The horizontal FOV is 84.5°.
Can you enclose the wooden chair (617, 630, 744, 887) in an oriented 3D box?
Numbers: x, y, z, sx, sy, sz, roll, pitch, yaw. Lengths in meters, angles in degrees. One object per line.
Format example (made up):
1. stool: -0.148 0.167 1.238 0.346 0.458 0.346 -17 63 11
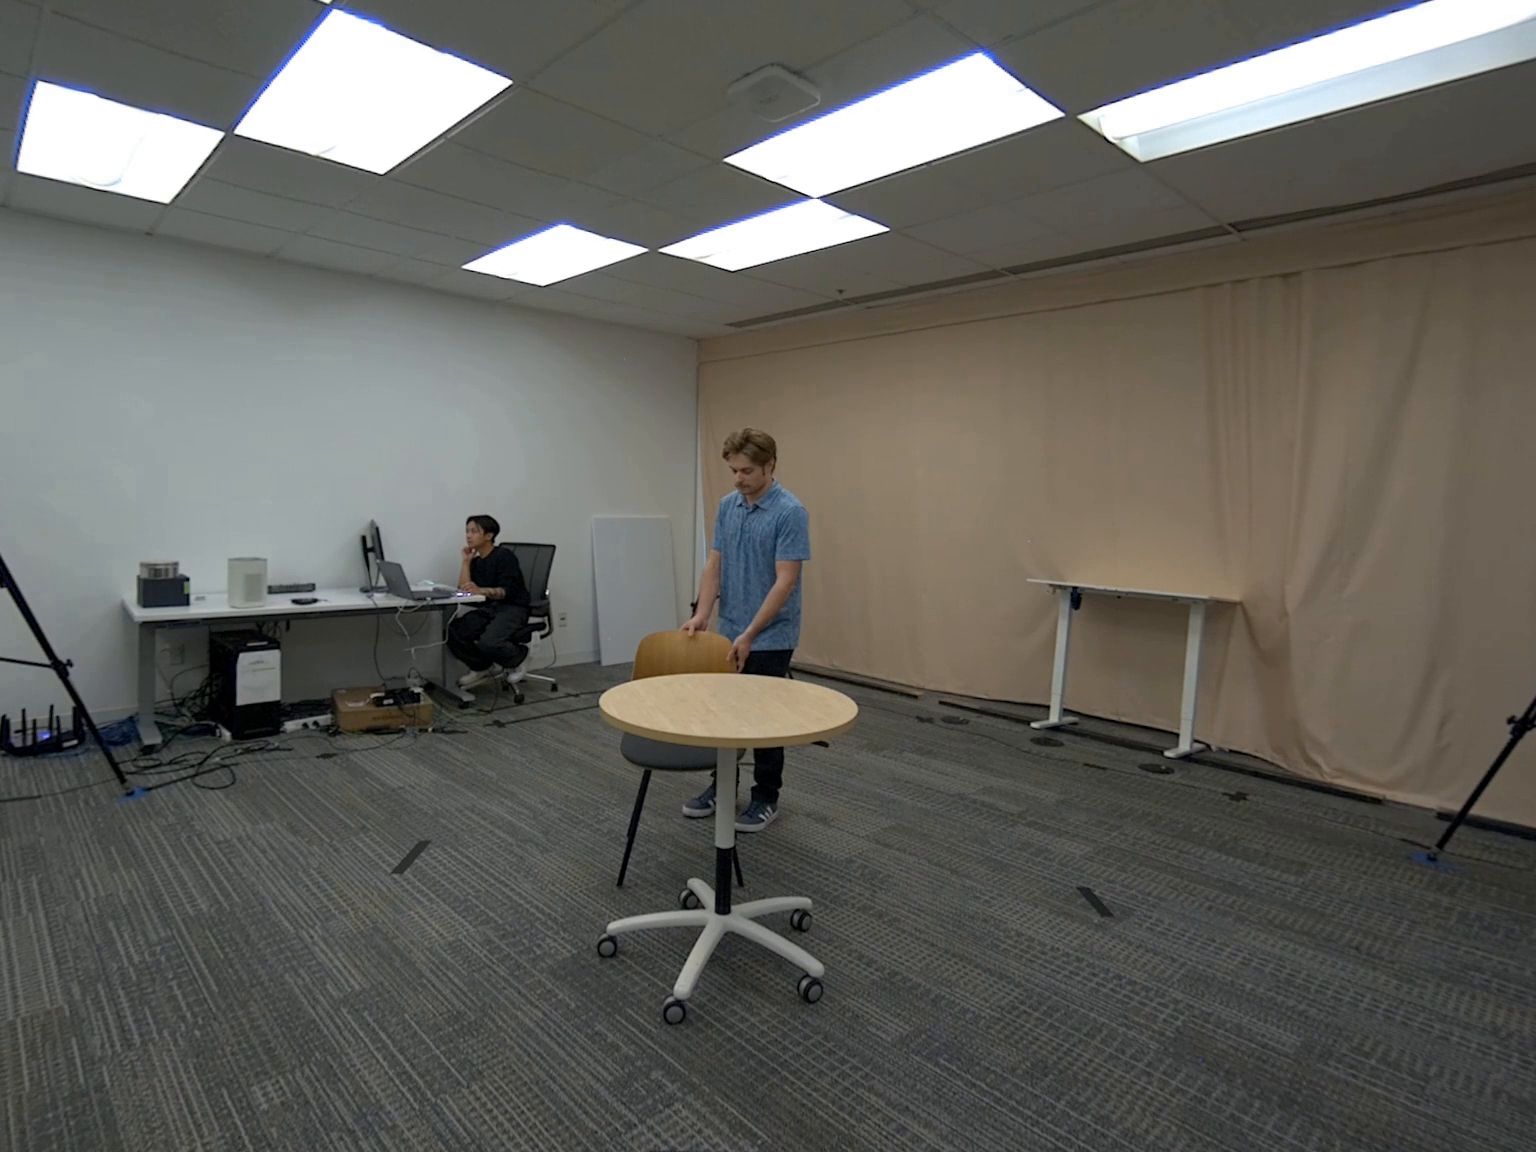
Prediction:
1. wooden chair: -0.325 0.668 3.193 0.476 0.878 0.525 2 0 -6
